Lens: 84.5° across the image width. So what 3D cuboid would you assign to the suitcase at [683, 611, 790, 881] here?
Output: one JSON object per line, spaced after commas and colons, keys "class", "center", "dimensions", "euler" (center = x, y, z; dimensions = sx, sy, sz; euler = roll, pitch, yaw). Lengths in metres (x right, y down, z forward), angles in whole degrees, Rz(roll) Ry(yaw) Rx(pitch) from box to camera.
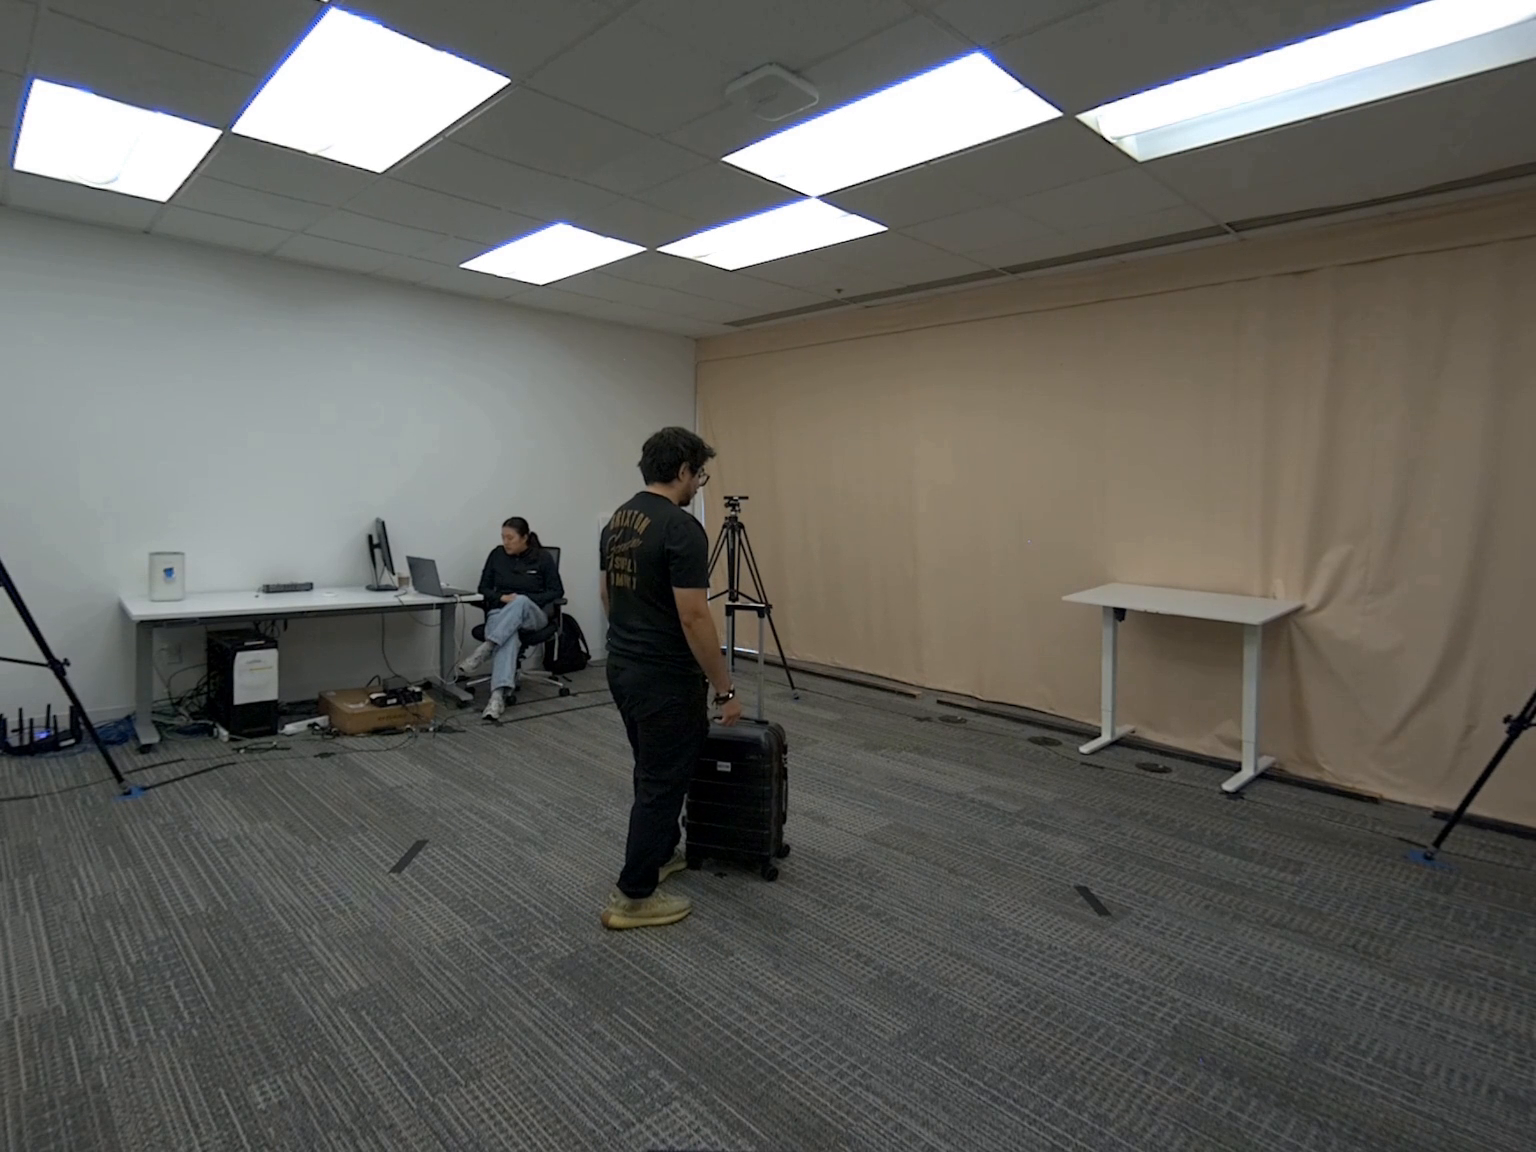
{"class": "suitcase", "center": [-0.116, 0.622, 3.178], "dimensions": [0.389, 0.974, 0.255], "euler": [2, 7, 16]}
